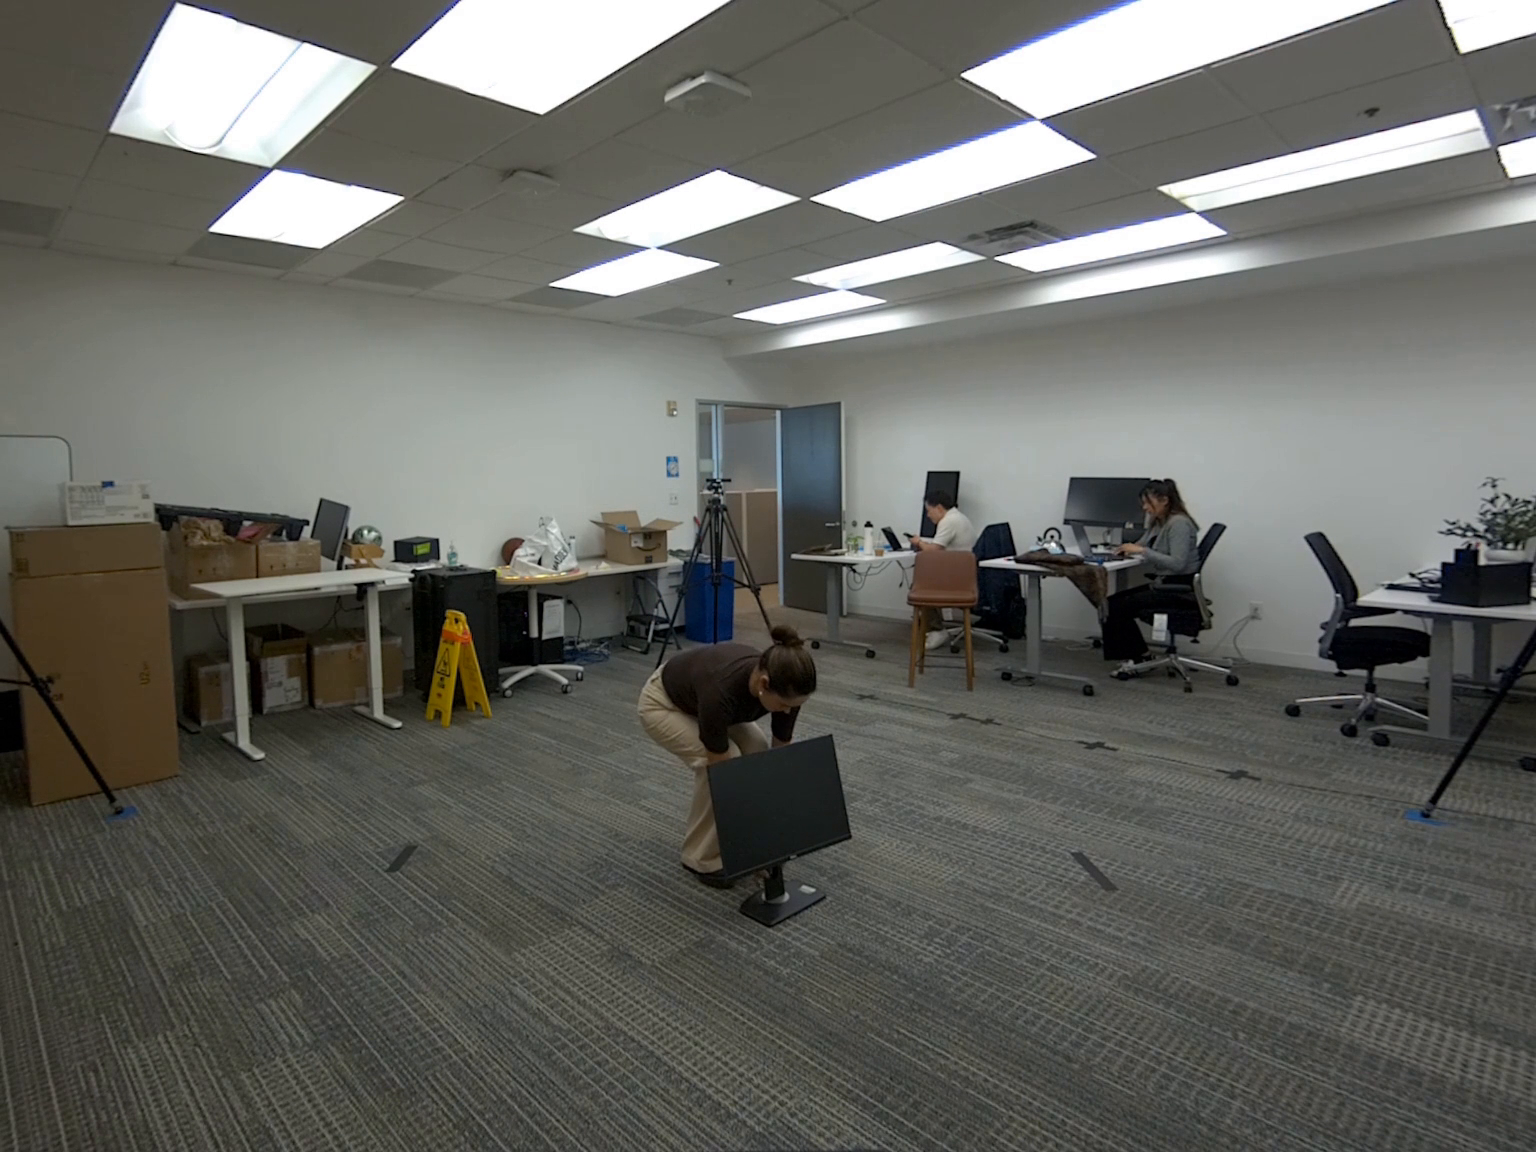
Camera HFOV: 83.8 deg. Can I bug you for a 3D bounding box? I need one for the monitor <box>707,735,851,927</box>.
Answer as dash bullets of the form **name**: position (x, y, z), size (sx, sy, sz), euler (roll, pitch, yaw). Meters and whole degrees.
- **monitor**: position (0.029, 0.828, 2.793), size (0.525, 0.521, 0.192), euler (-4, 4, -41)
